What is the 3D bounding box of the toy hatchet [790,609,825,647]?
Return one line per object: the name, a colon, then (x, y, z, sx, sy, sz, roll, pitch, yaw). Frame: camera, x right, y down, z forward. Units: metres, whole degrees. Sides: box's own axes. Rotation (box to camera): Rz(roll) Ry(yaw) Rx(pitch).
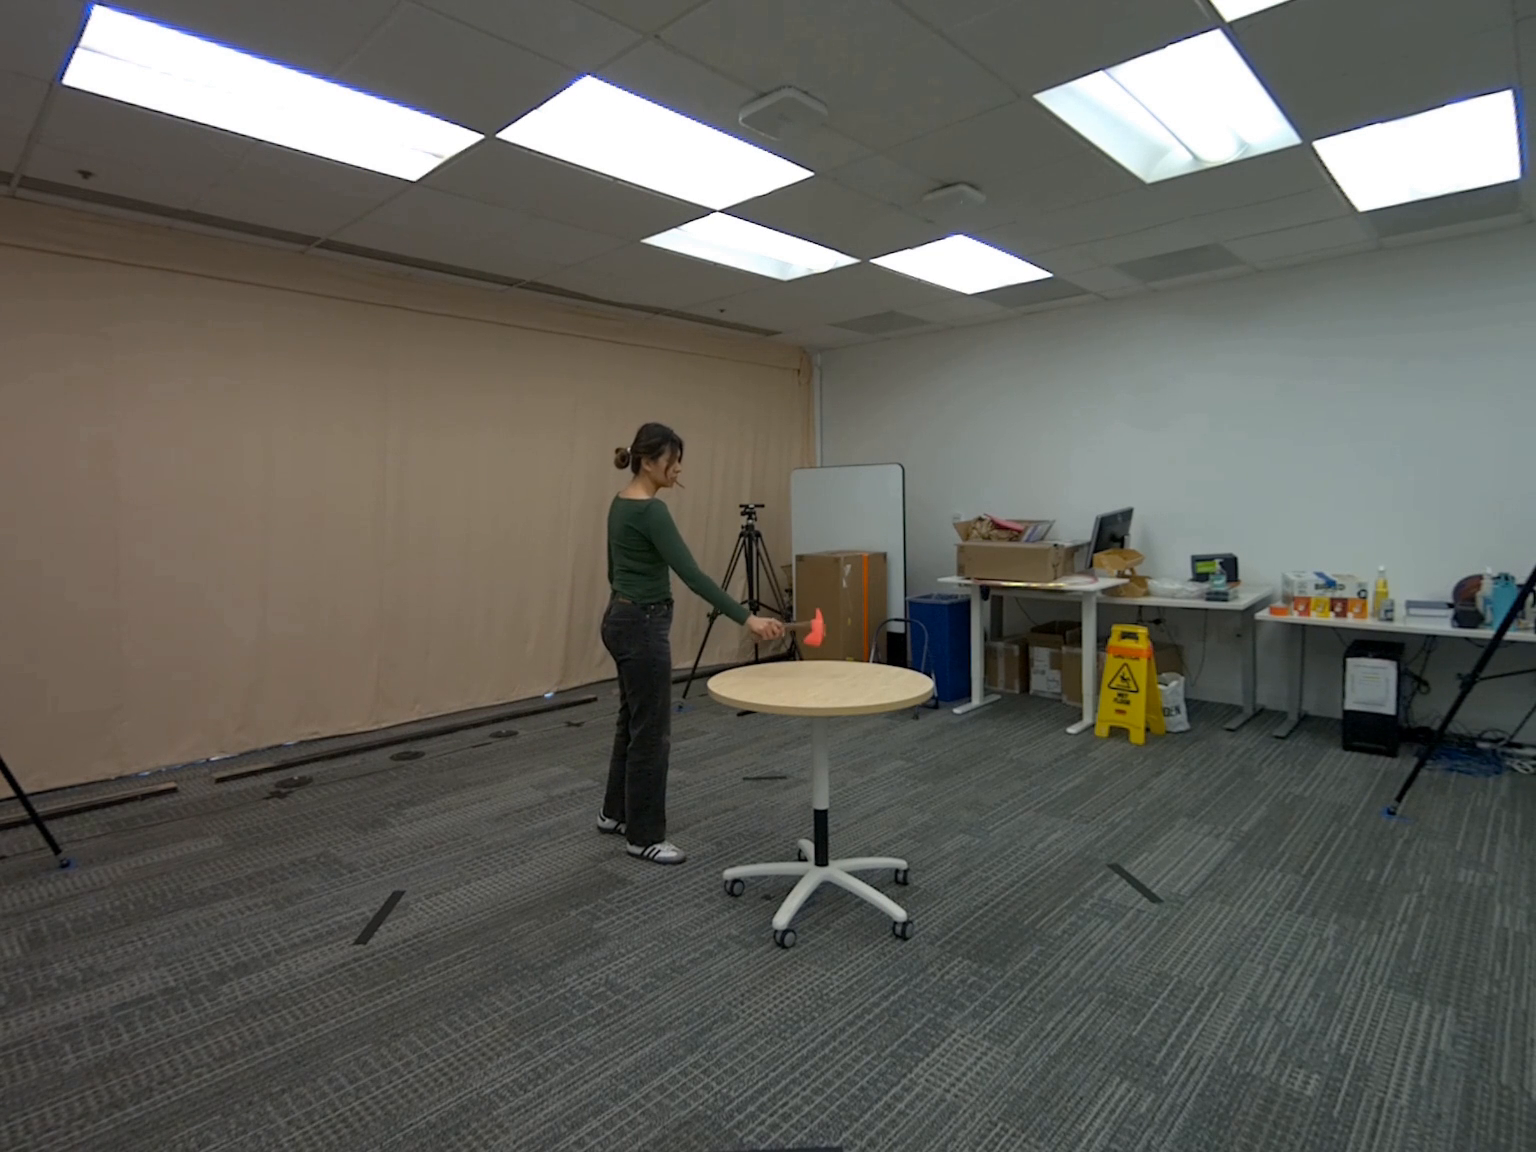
toy hatchet: (0.072, 0.202, 2.995, 0.272, 0.133, 0.029, -15, -18, 7)
